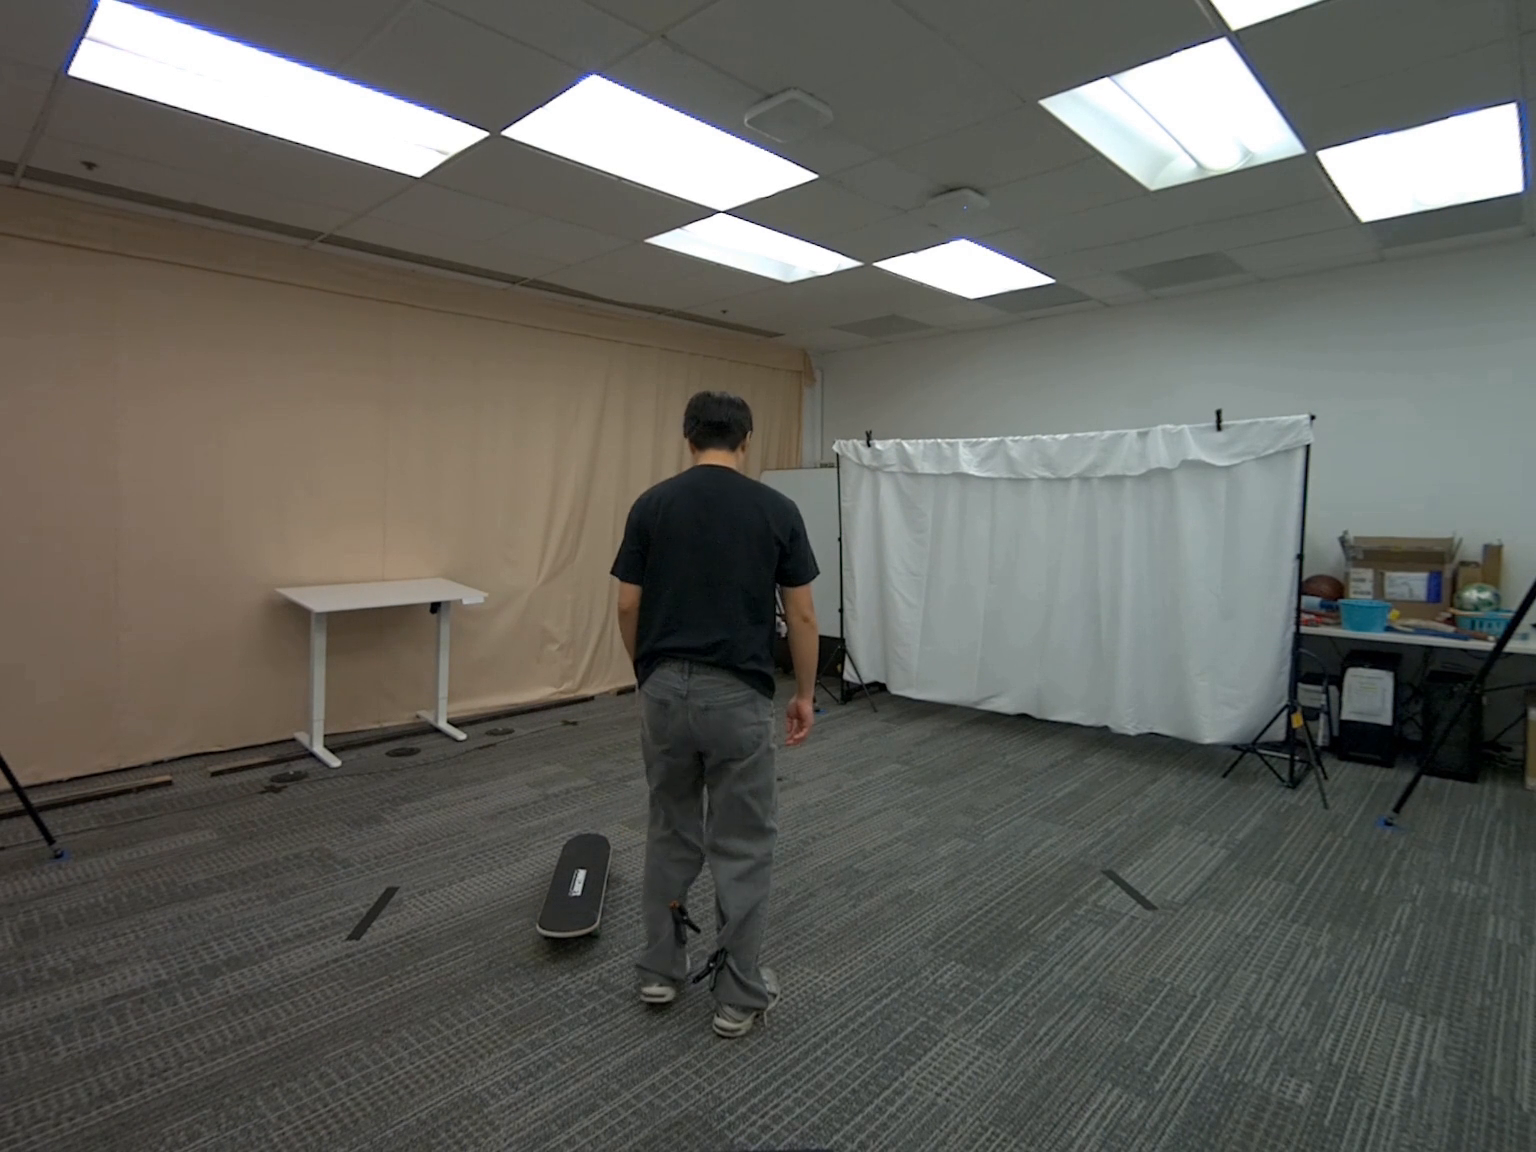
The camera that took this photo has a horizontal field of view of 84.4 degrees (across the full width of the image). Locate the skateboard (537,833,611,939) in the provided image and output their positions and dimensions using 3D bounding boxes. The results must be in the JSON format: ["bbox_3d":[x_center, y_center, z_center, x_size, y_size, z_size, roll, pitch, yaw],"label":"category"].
[{"bbox_3d":[-0.656,1.090,2.930,0.193,0.110,0.791,-1,5,-5],"label":"skateboard"}]
